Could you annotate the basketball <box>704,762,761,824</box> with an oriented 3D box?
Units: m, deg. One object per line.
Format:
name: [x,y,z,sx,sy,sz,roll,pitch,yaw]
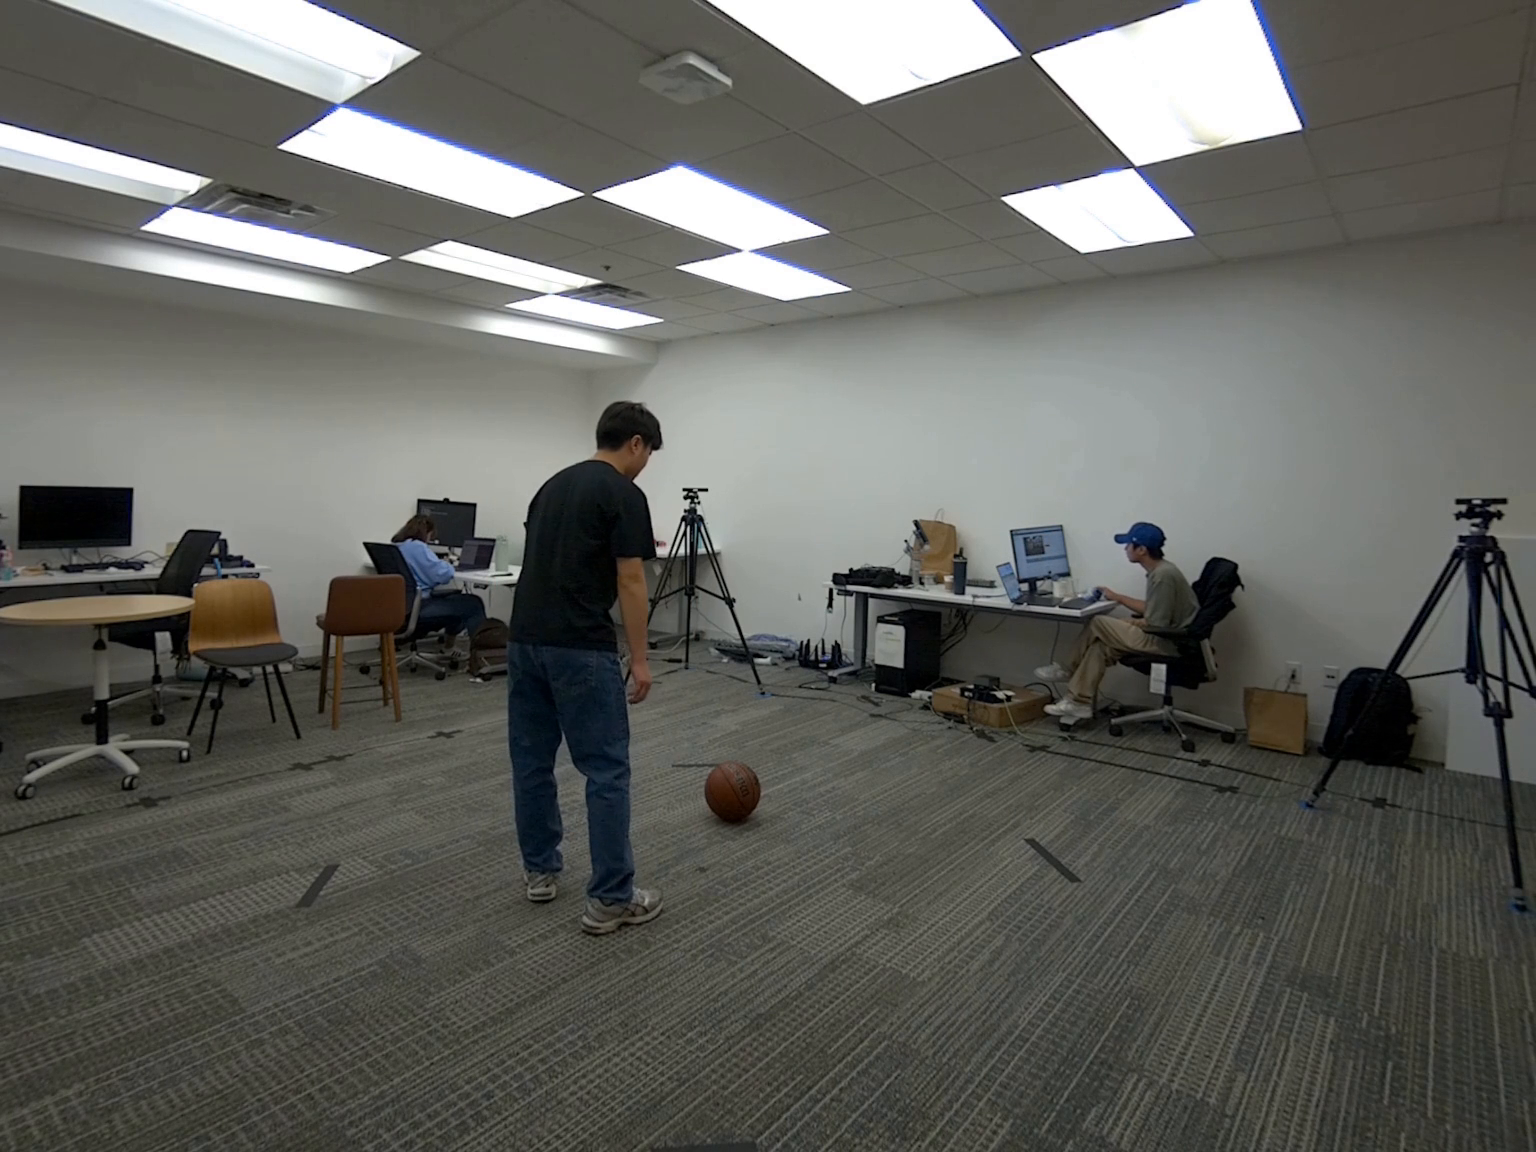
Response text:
basketball: [-0.157,0.900,3.599,0.235,0.235,0.237,1,4,-2]
